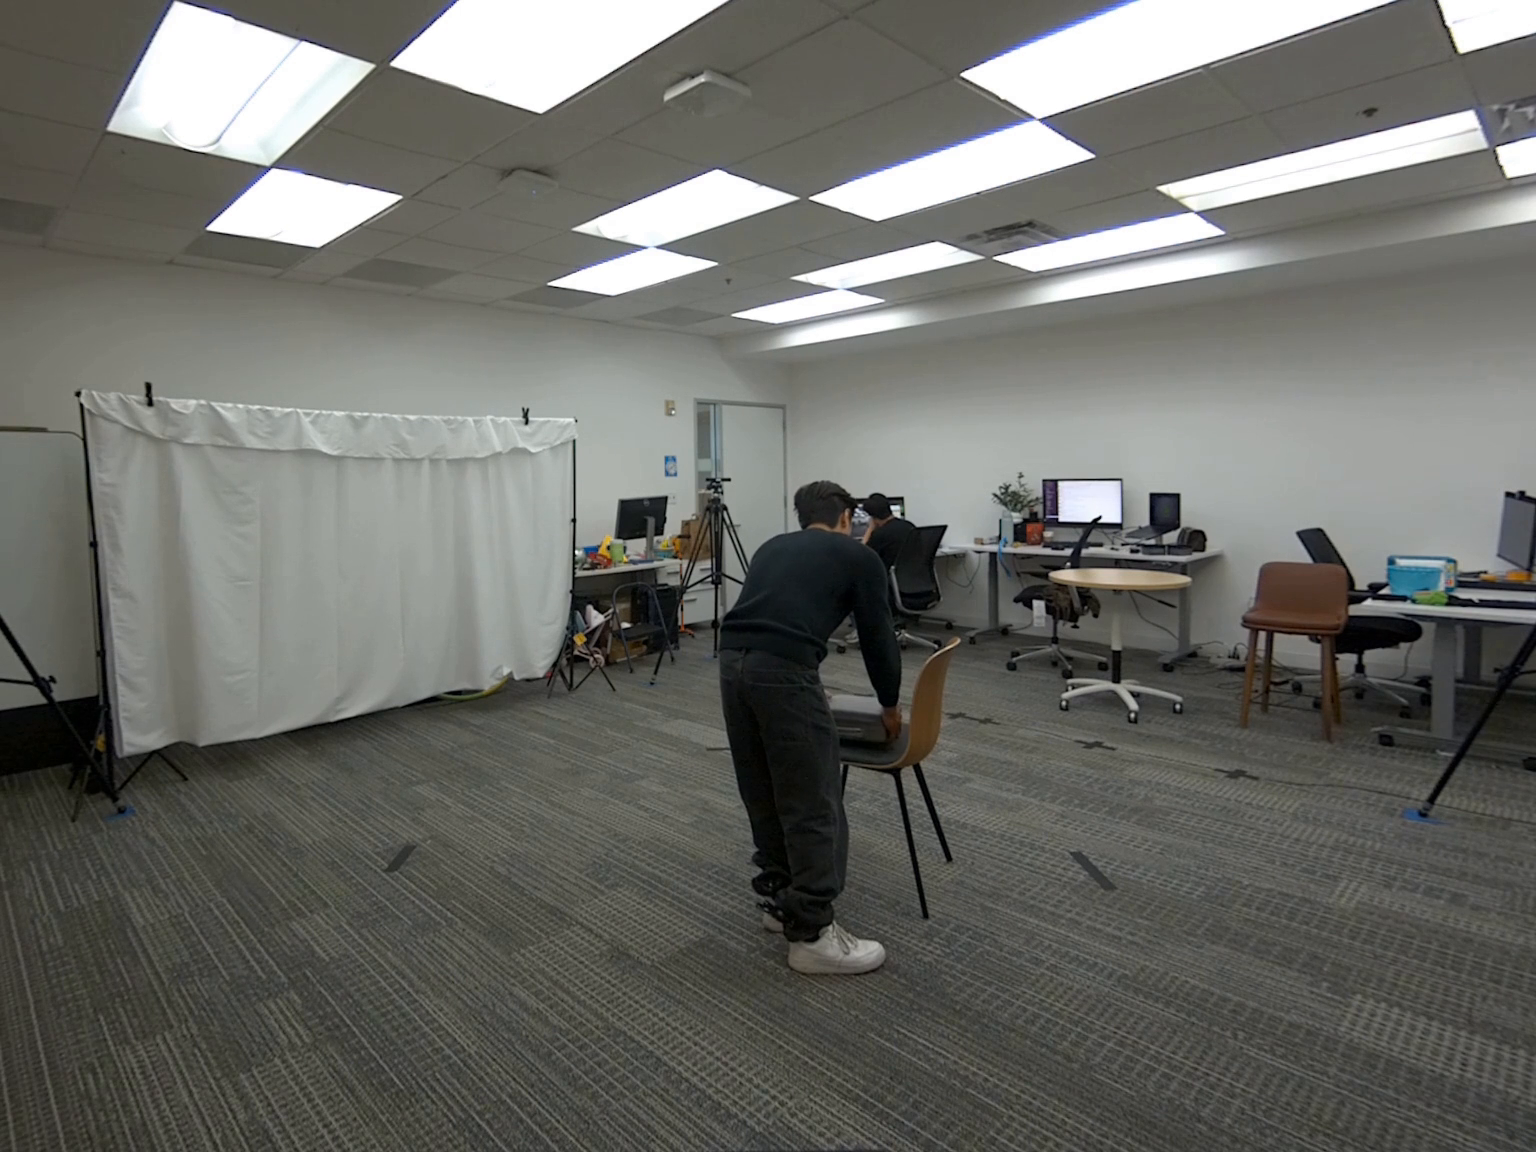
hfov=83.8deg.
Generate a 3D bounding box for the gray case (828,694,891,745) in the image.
[{"bbox_3d":[0.321,0.480,2.977,0.263,0.104,0.255,5,5,24],"label":"gray case"}]
